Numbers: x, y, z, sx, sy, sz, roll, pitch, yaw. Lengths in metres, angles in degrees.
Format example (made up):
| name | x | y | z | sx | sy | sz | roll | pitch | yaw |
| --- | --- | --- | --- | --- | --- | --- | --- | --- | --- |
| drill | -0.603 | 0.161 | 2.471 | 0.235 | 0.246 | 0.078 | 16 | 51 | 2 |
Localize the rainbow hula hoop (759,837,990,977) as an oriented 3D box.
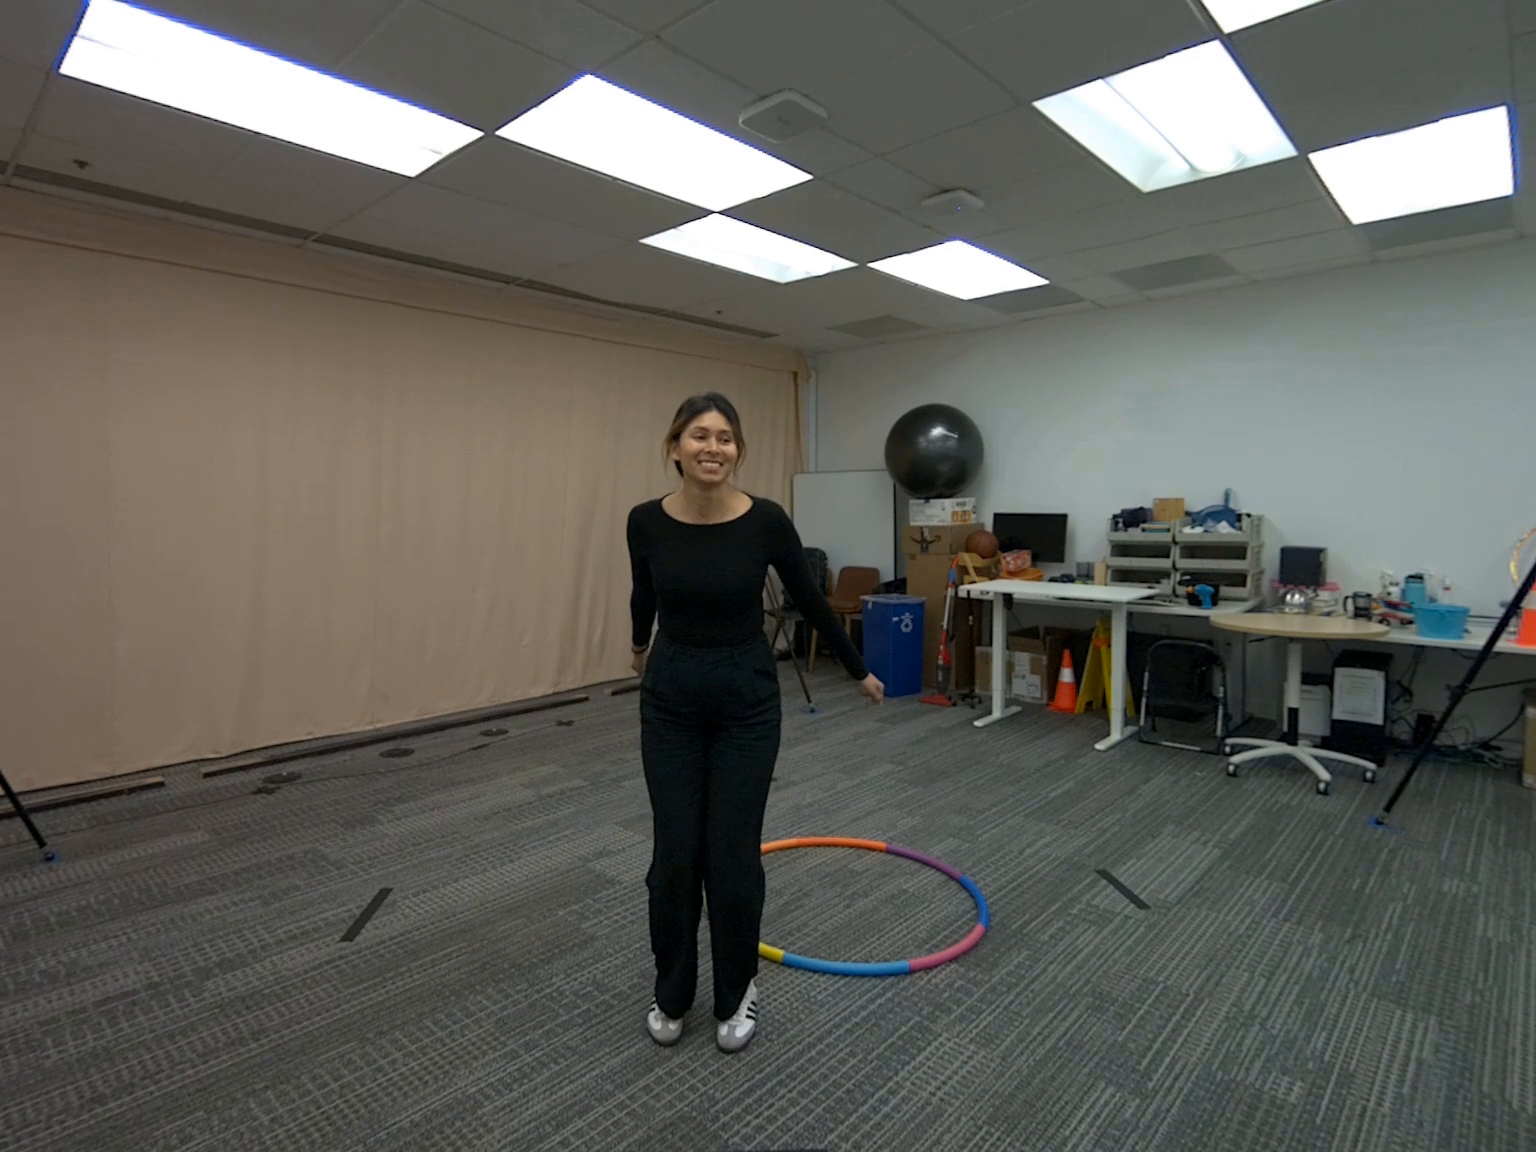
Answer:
| name | x | y | z | sx | sy | sz | roll | pitch | yaw |
| --- | --- | --- | --- | --- | --- | --- | --- | --- | --- |
| rainbow hula hoop | 0.263 | 1.115 | 2.969 | 0.978 | 0.035 | 0.982 | 0 | 5 | -2 |
